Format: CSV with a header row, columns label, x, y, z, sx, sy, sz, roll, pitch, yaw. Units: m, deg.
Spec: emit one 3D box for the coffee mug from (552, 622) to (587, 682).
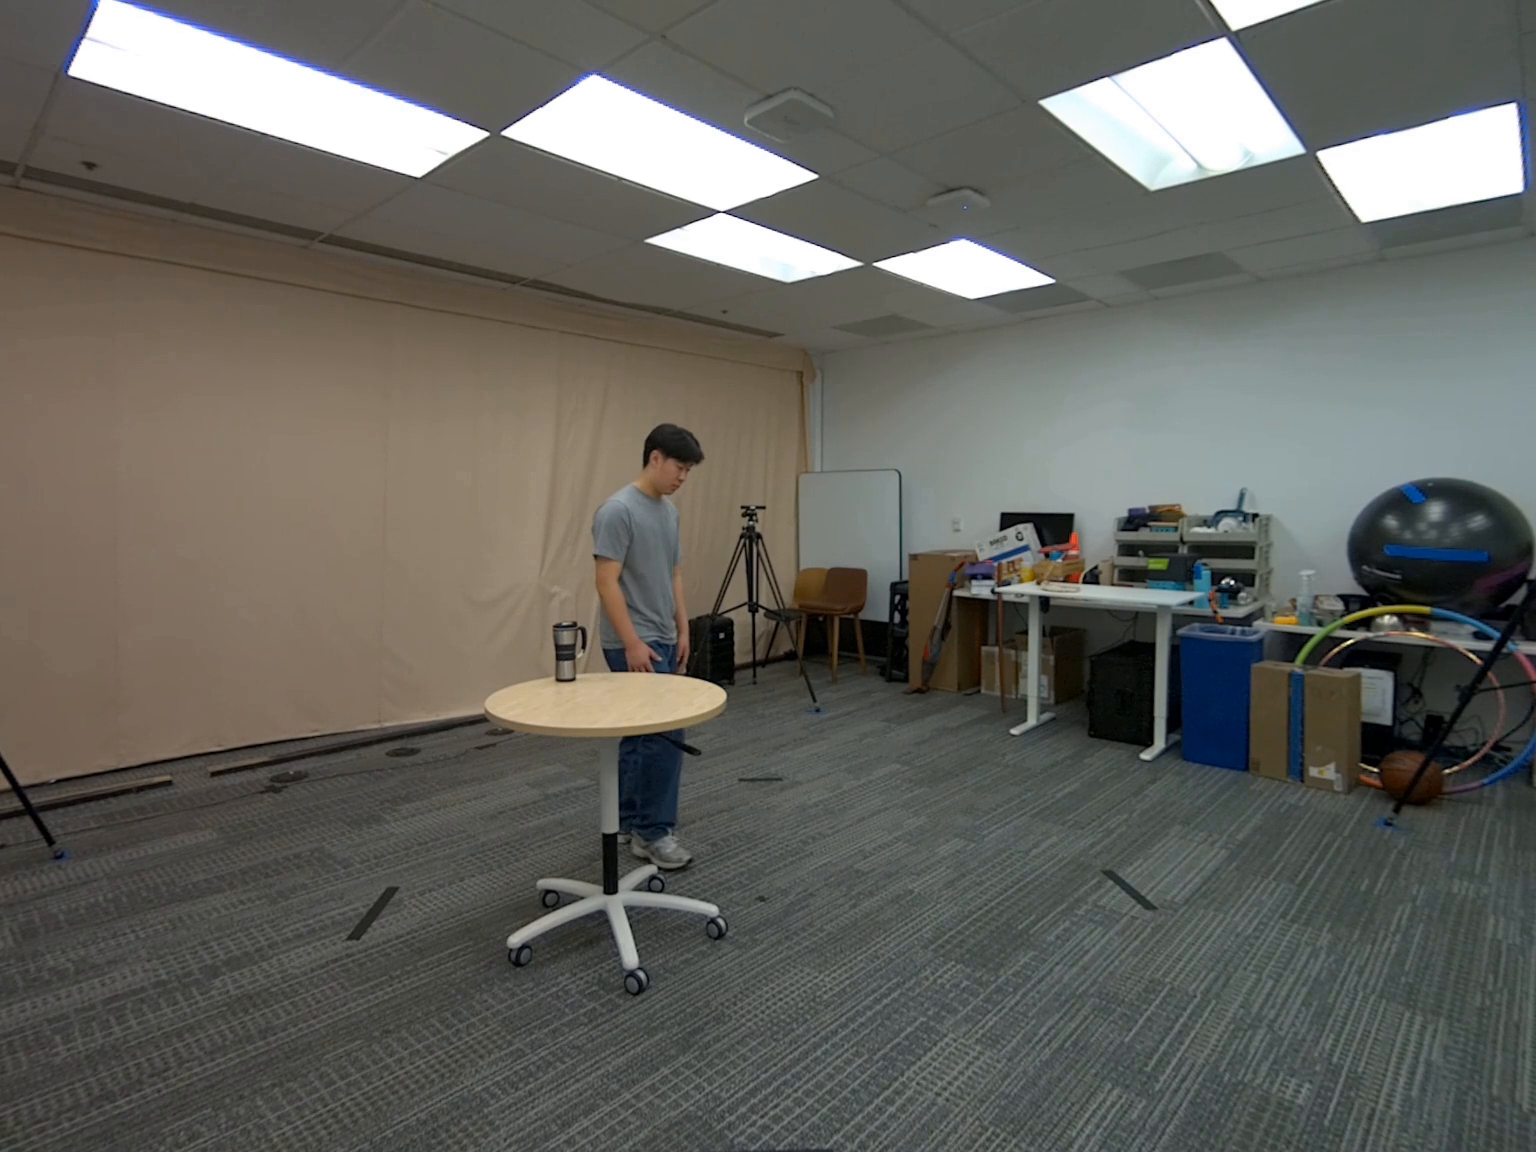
label,x,y,z,sx,sy,sz,roll,pitch,yaw
coffee mug,-0.695,0.267,2.952,0.120,0.202,0.090,-9,3,-21
